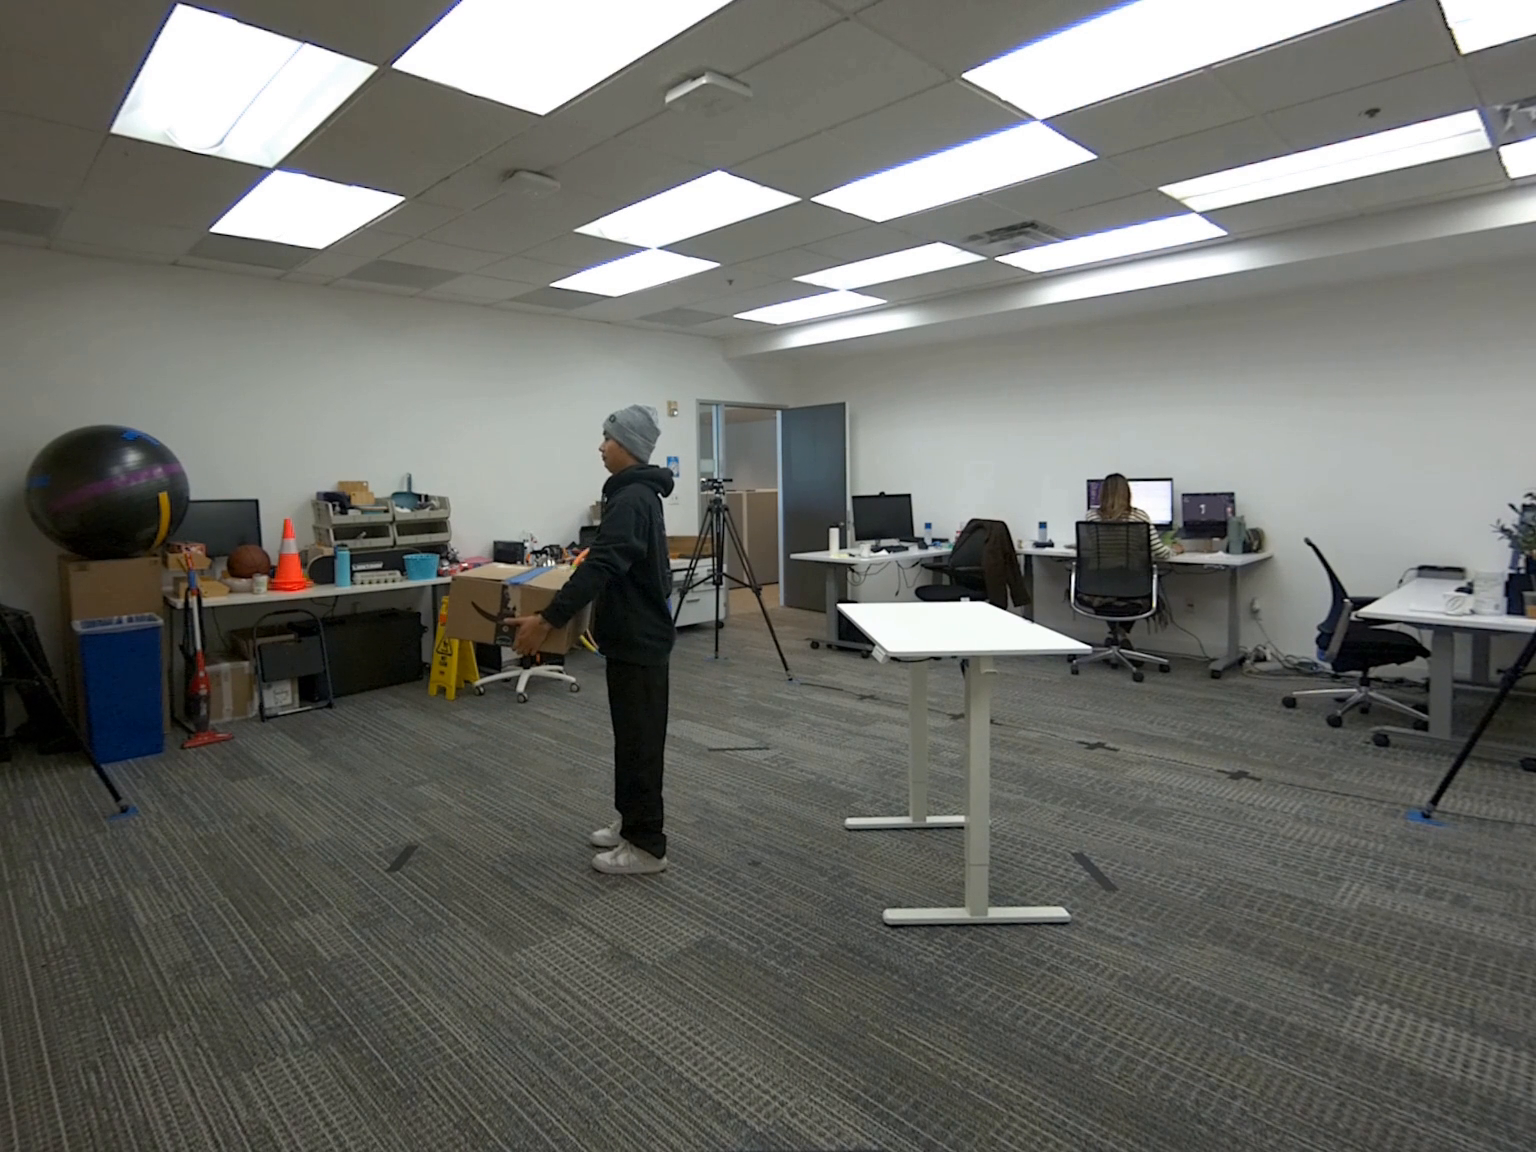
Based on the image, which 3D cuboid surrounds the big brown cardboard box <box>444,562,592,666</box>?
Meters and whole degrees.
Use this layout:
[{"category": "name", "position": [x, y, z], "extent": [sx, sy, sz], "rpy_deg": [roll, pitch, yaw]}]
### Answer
[{"category": "big brown cardboard box", "position": [-0.890, 0.102, 3.163], "extent": [0.416, 0.232, 0.593], "rpy_deg": [6, 6, -4]}]
